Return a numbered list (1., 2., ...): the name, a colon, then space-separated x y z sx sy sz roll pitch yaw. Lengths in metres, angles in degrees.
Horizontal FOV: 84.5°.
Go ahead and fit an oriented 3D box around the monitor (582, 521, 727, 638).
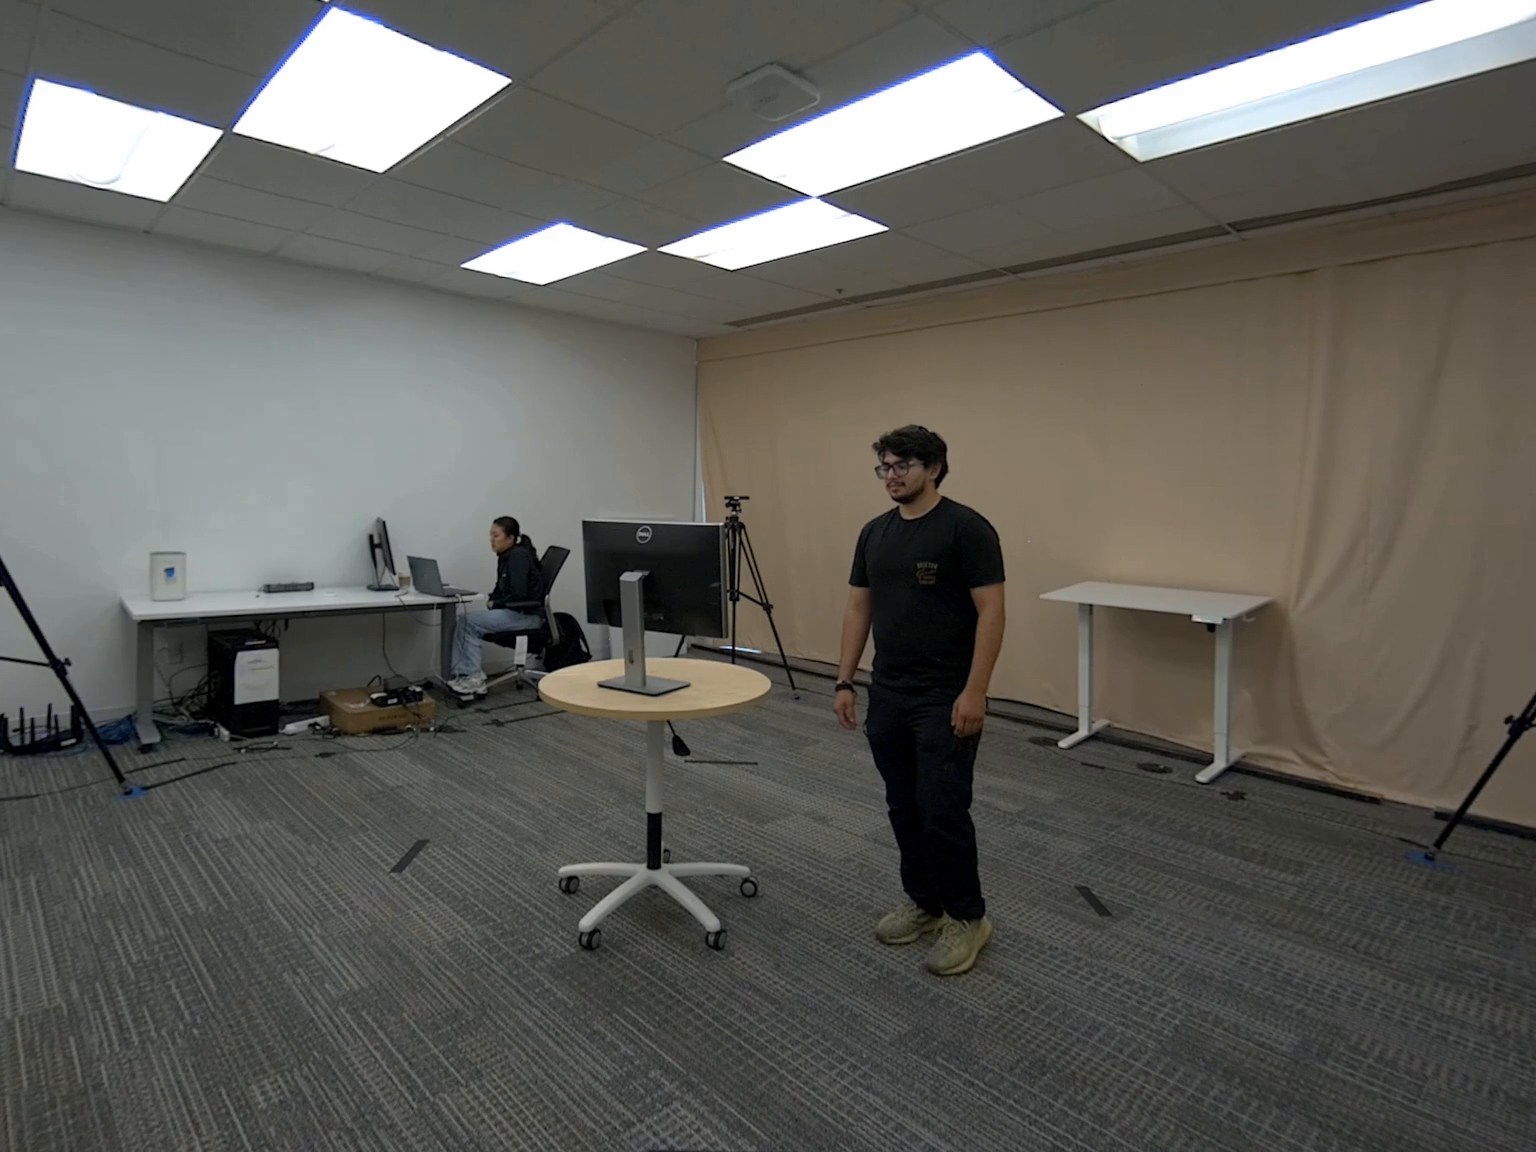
1. monitor: -0.410 0.097 2.690 0.578 0.552 0.206 4 7 30
